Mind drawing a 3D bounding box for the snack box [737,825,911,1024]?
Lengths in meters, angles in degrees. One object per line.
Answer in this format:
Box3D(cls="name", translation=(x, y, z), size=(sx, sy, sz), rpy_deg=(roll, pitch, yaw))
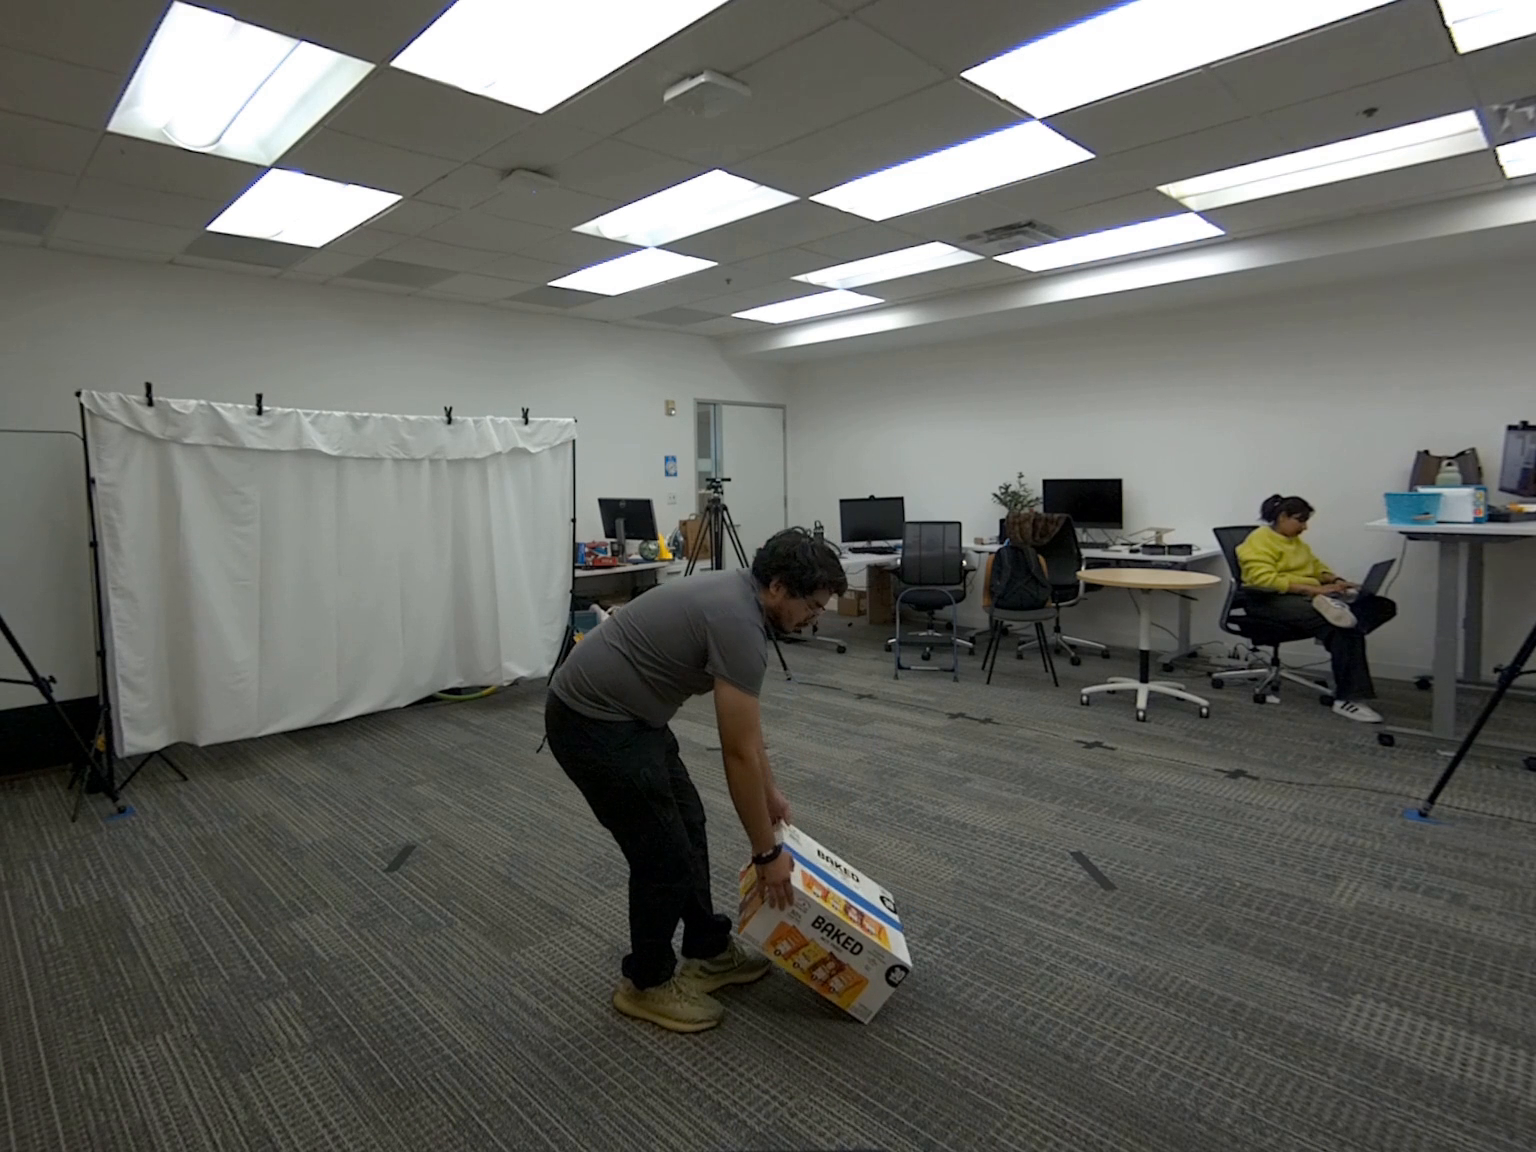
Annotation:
Box3D(cls="snack box", translation=(0.147, 0.925, 2.322), size=(0.403, 0.205, 0.342), rpy_deg=(36, 7, -4))
